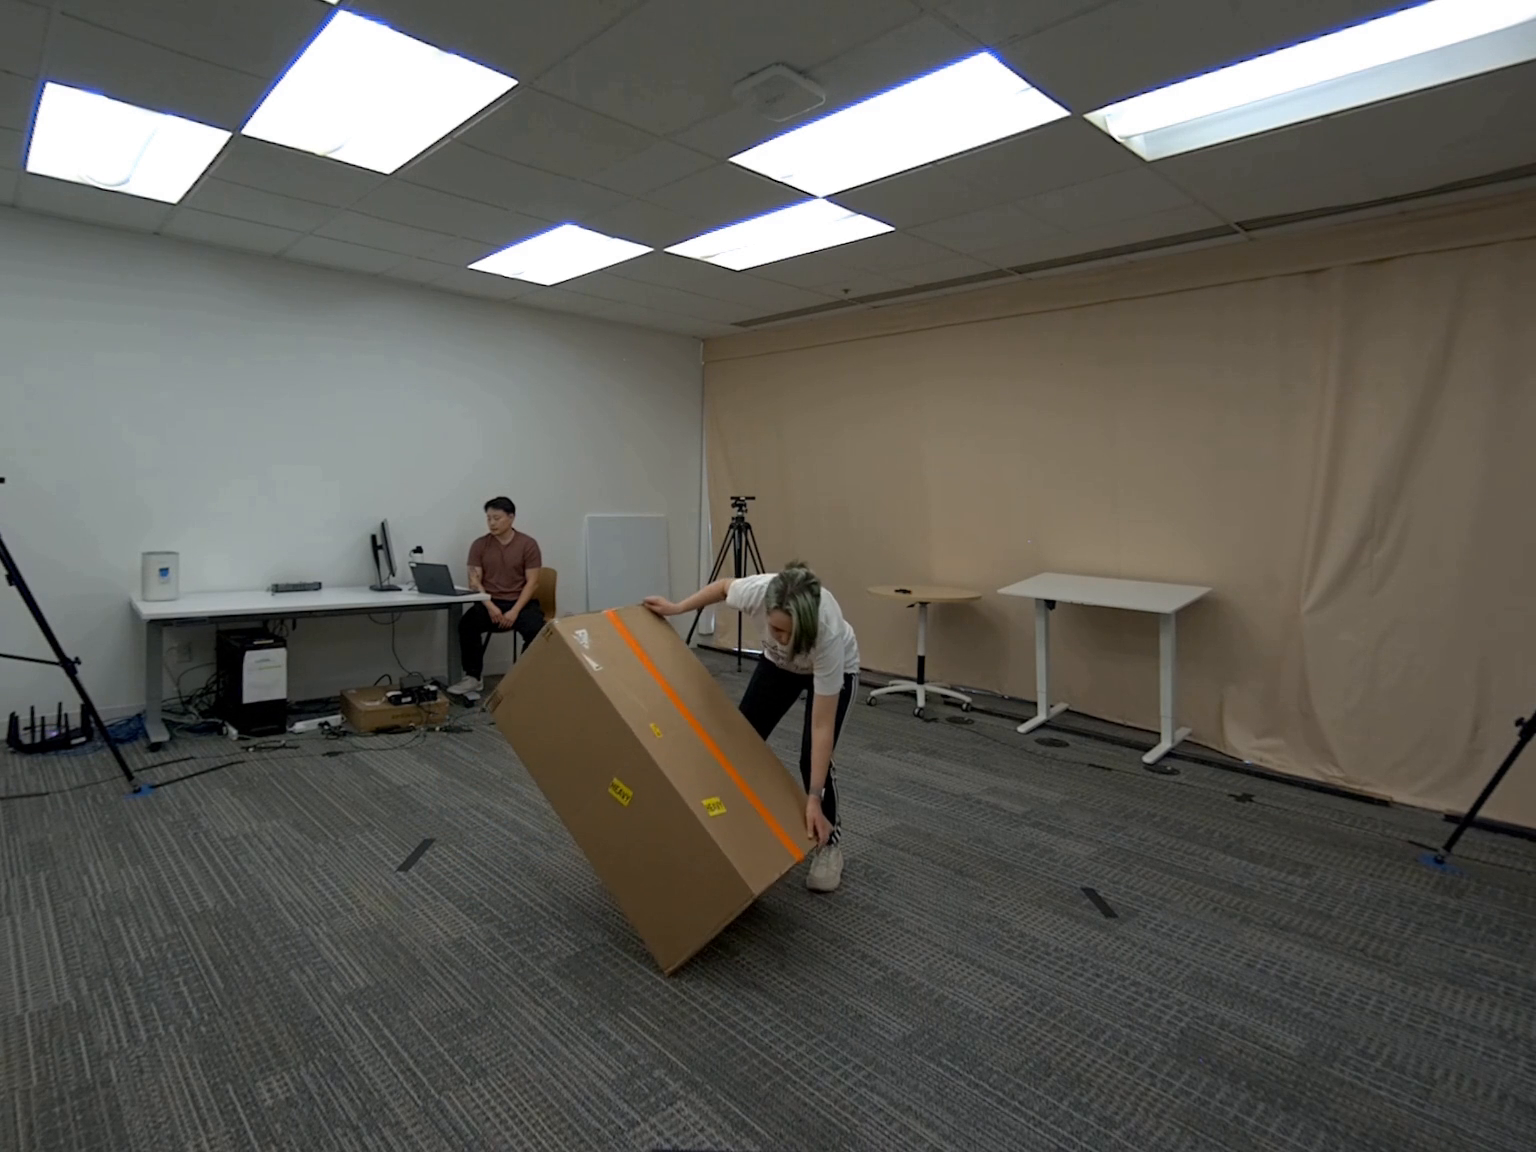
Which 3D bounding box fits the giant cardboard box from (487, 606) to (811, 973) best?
[{"bbox_3d":[-0.362,0.631,2.768,1.046,0.426,0.567,48,22,18],"label":"giant cardboard box"}]
